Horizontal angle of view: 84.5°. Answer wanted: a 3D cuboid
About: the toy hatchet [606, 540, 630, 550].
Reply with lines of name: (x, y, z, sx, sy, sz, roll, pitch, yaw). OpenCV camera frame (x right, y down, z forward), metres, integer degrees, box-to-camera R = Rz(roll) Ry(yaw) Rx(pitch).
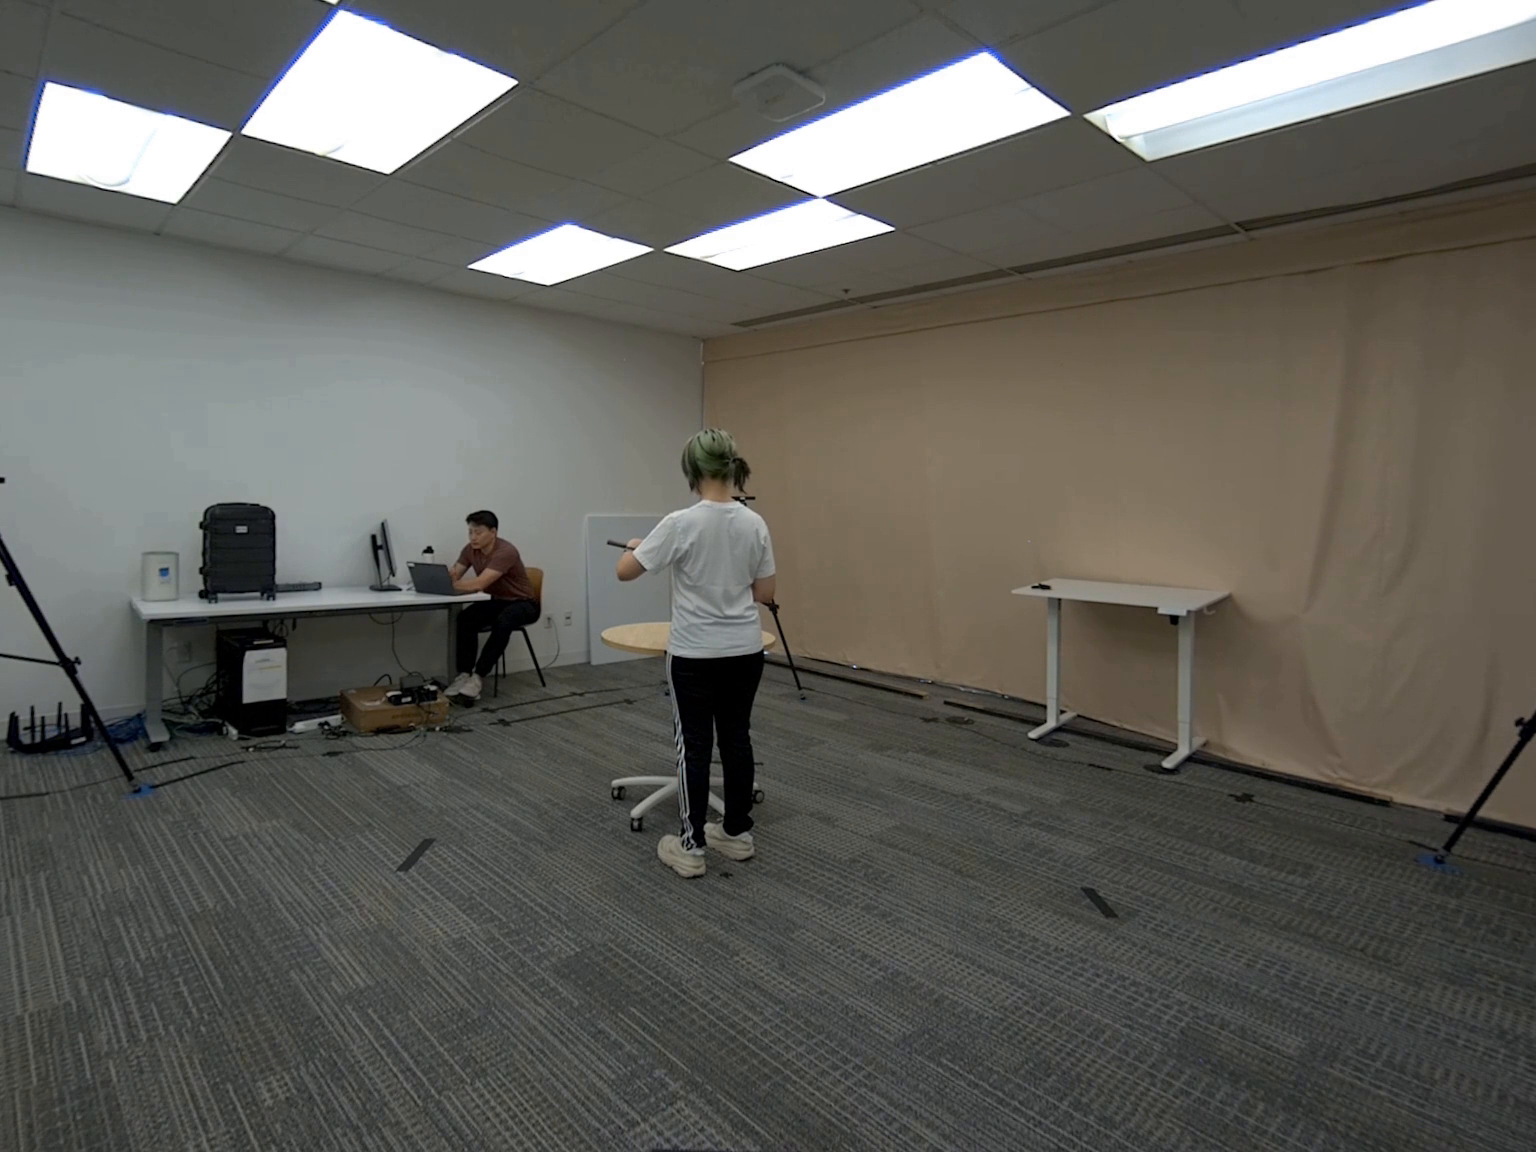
toy hatchet: (-0.535, -0.117, 3.423, 0.268, 0.029, 0.132, 12, 12, -6)
